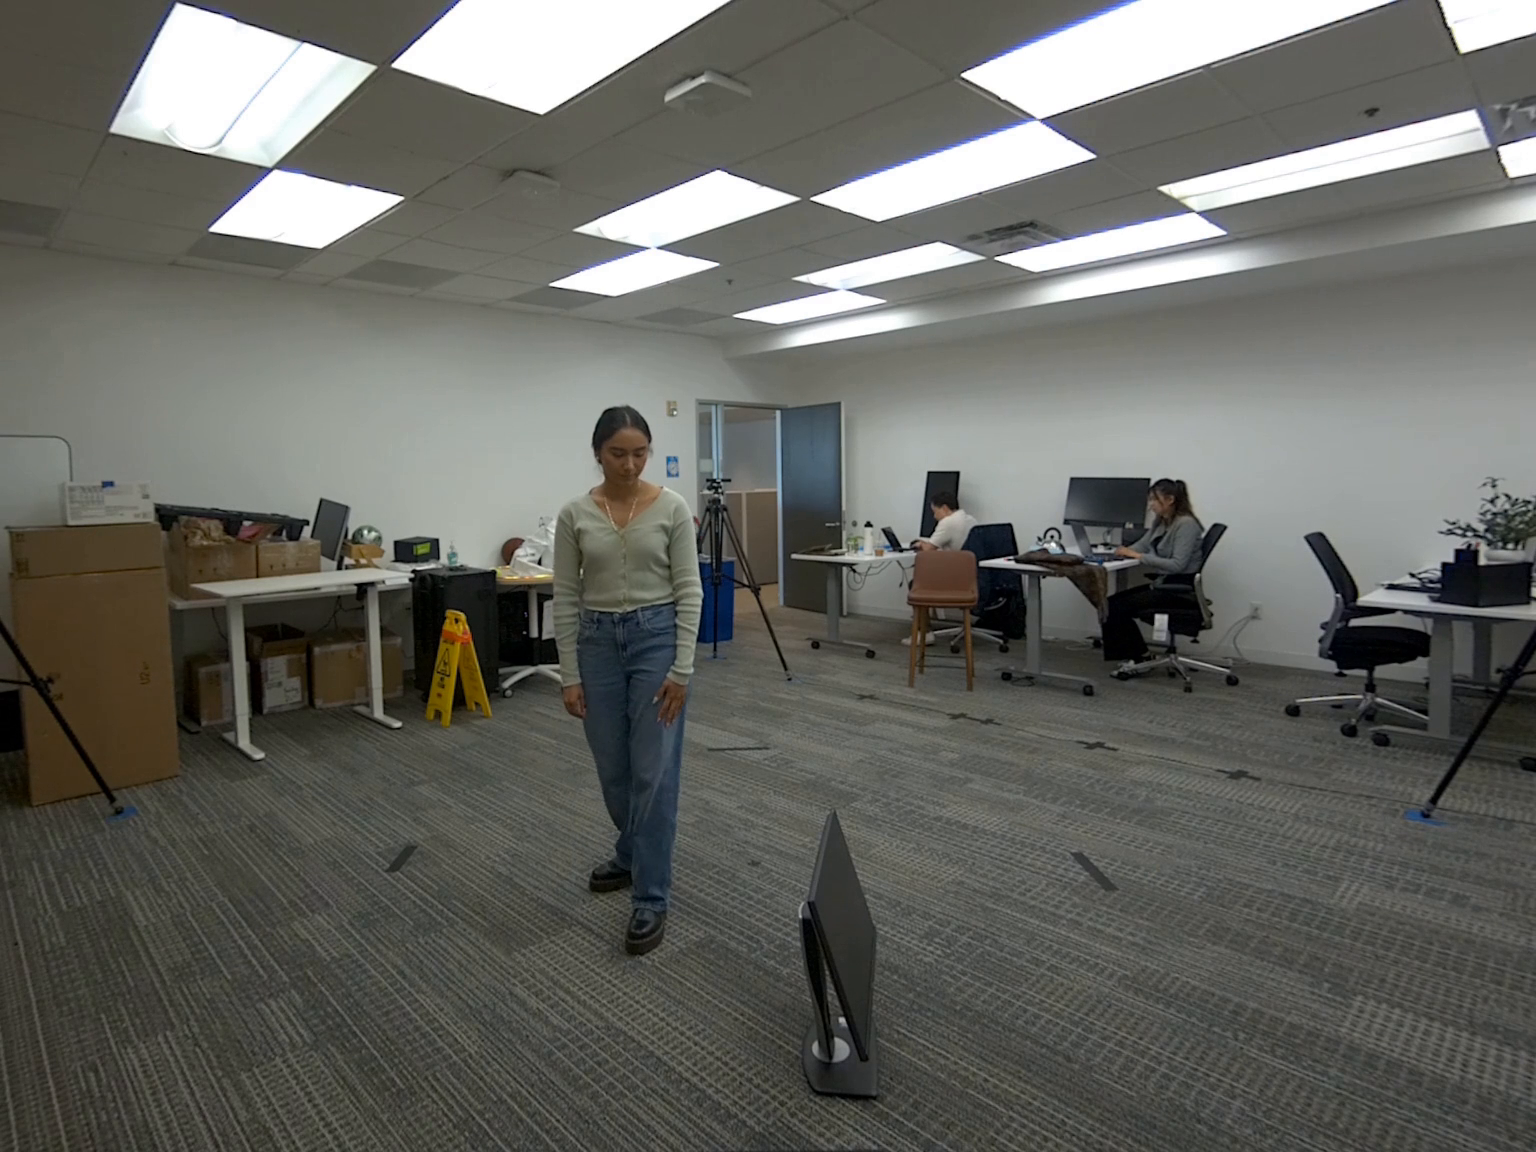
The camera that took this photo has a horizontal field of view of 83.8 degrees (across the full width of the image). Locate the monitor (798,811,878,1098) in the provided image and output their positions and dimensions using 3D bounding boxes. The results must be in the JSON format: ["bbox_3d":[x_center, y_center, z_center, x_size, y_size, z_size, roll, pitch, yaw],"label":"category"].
[{"bbox_3d":[0.173,0.903,2.042,0.176,0.514,0.527,0,4,8],"label":"monitor"}]
